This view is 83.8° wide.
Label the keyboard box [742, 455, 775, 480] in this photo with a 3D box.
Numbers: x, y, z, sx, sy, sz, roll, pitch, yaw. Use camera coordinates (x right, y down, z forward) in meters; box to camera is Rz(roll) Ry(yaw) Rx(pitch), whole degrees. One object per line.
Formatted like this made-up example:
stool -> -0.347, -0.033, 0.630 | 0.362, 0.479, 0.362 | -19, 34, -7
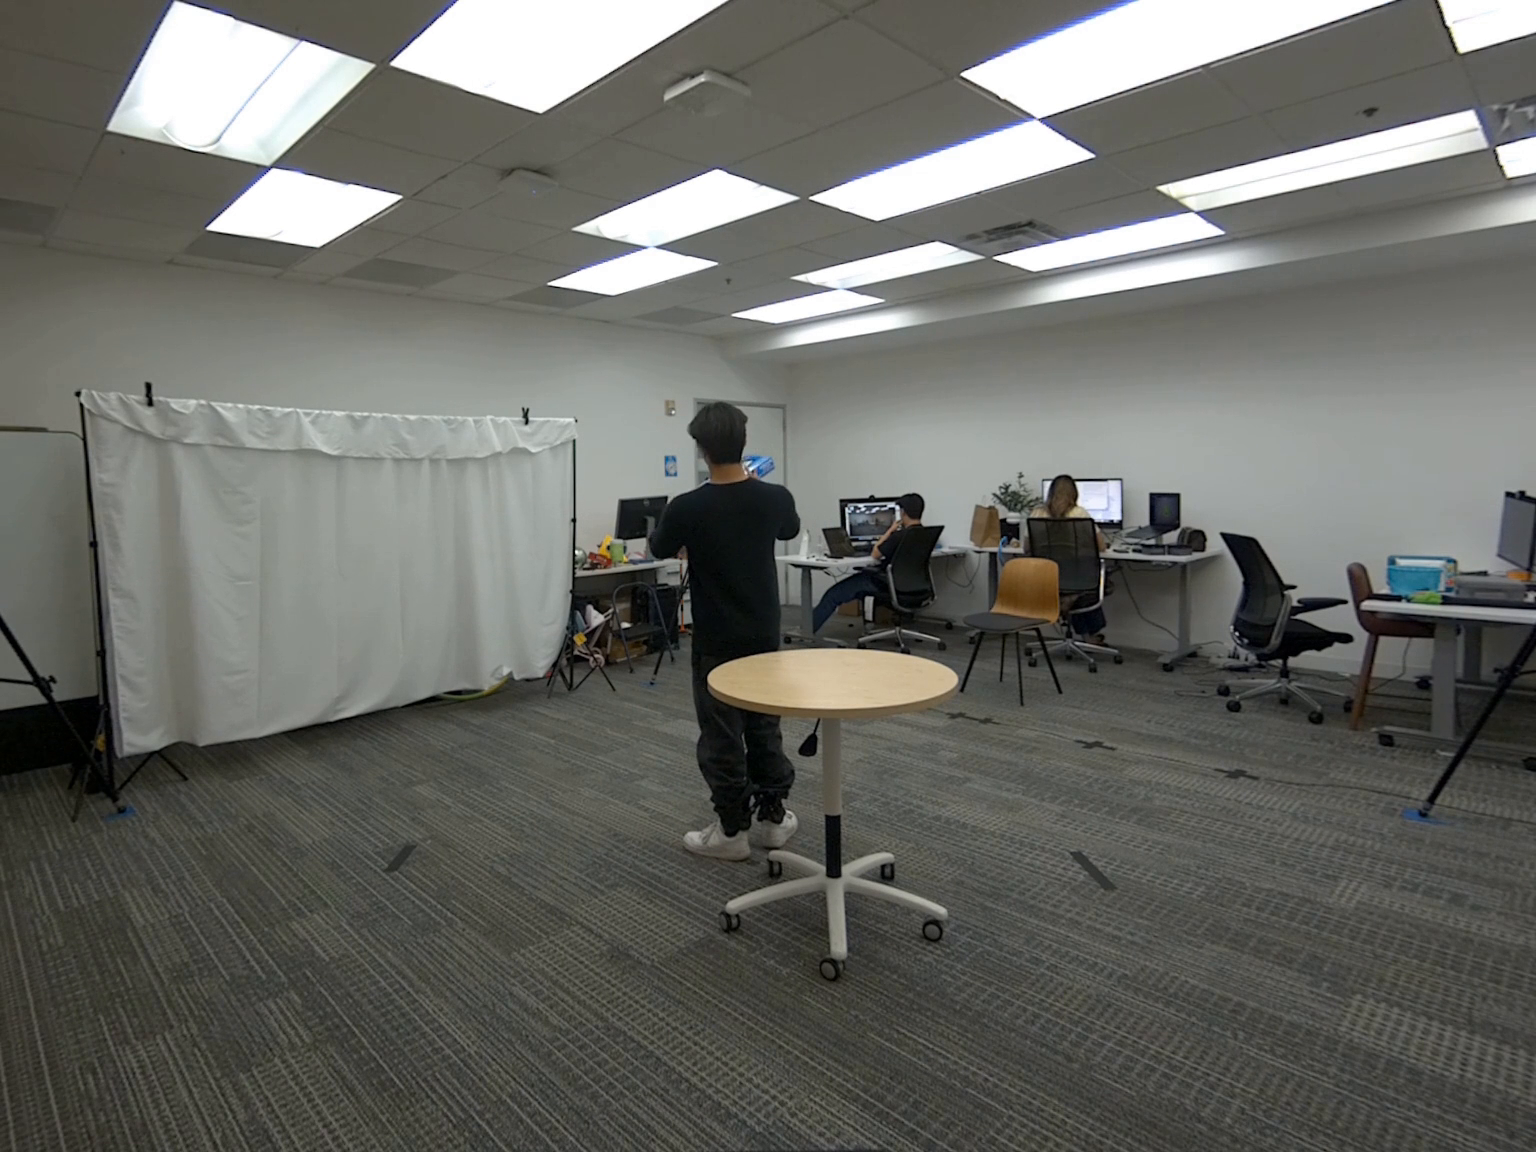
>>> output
keyboard box -> -0.174, -0.391, 3.649 | 0.182, 0.057, 0.434 | 11, 41, 45
